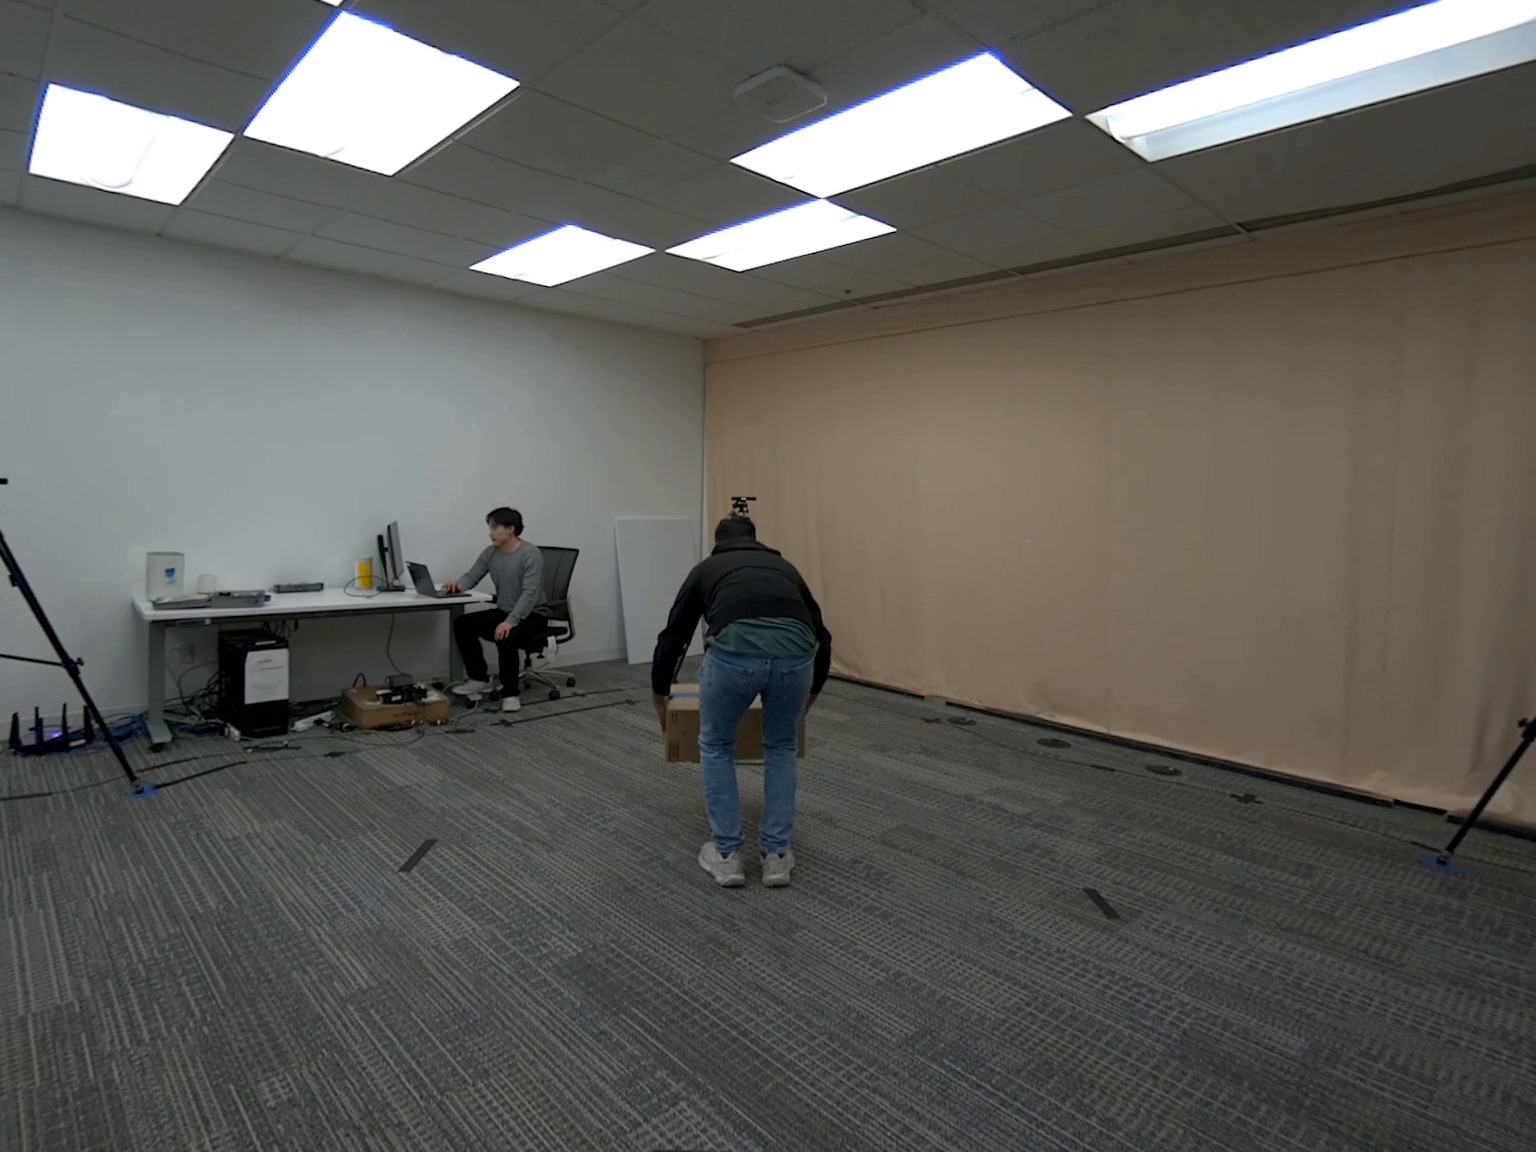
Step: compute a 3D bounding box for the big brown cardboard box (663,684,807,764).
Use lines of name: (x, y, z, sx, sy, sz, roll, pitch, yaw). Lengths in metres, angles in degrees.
big brown cardboard box: (-0.159, 0.611, 3.569, 0.585, 0.232, 0.422, -1, 6, -9)
